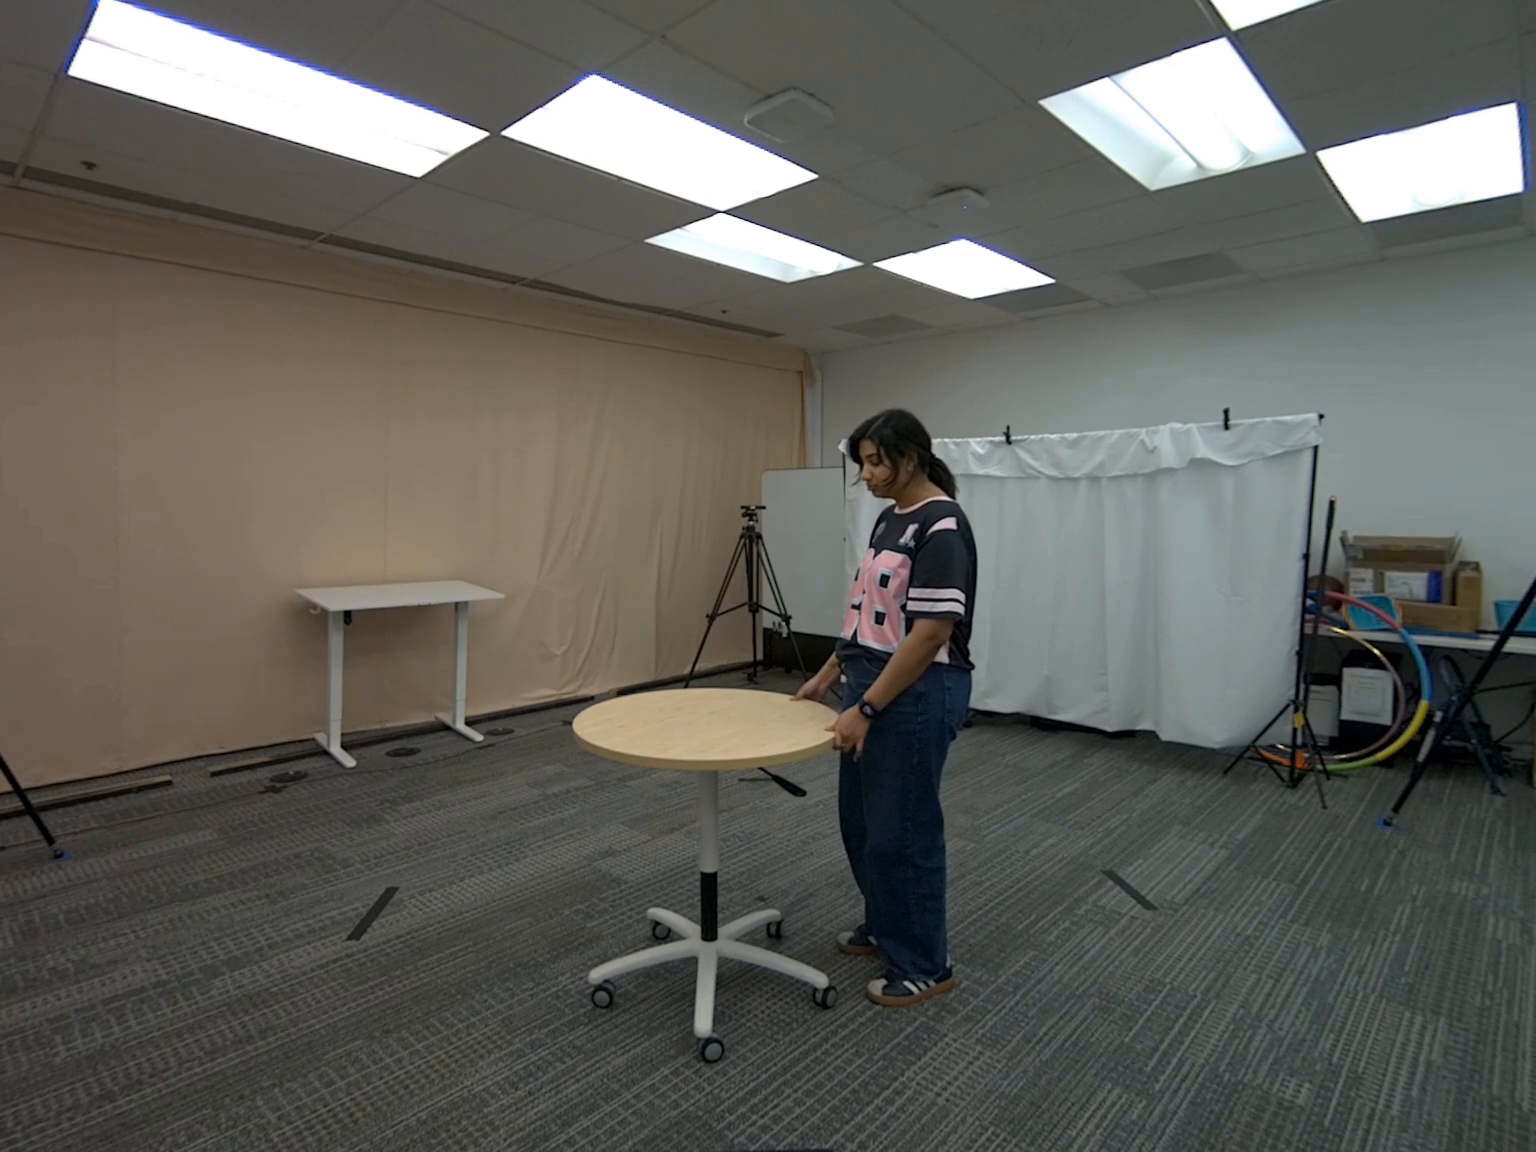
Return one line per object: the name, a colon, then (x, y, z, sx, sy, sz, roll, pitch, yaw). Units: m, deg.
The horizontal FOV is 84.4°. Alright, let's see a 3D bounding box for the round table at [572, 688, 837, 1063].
round table: (-0.169, 0.807, 2.434, 0.763, 0.792, 0.767, 0, 4, -2)
